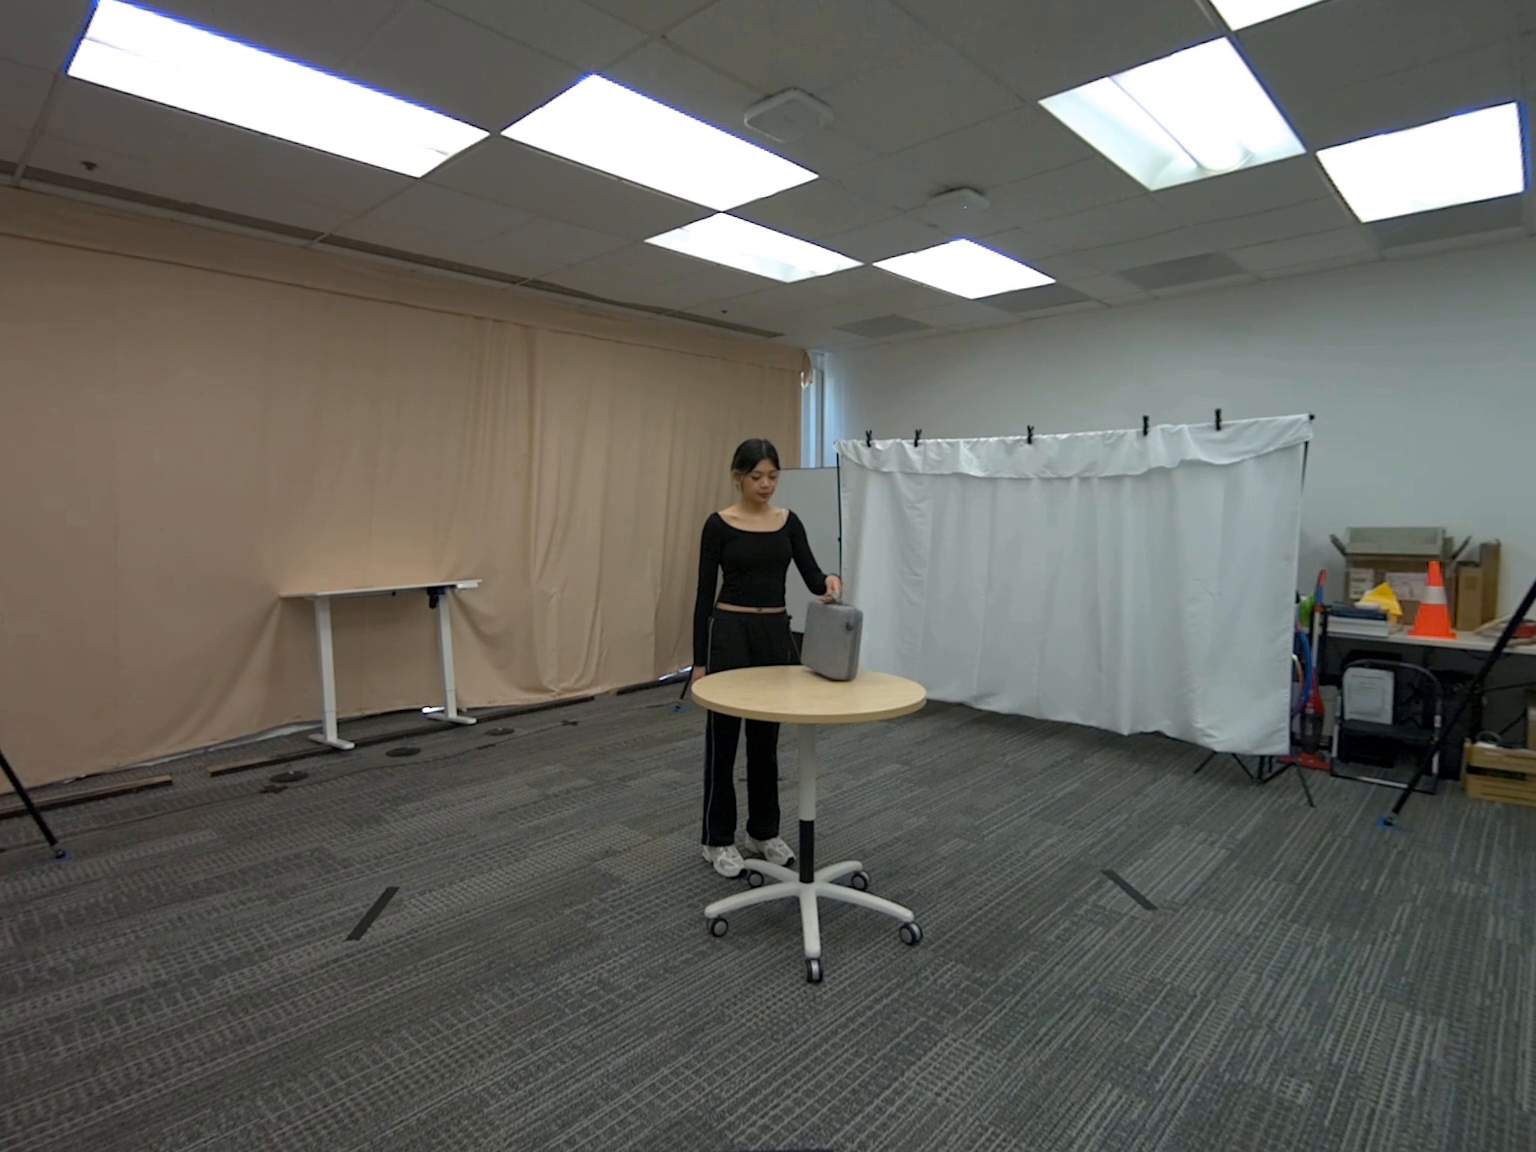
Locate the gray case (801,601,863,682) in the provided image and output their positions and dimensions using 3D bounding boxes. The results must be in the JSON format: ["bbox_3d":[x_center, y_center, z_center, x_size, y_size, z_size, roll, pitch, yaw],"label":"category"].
[{"bbox_3d":[0.230,0.217,2.957,0.102,0.260,0.263,7,2,-23],"label":"gray case"}]
